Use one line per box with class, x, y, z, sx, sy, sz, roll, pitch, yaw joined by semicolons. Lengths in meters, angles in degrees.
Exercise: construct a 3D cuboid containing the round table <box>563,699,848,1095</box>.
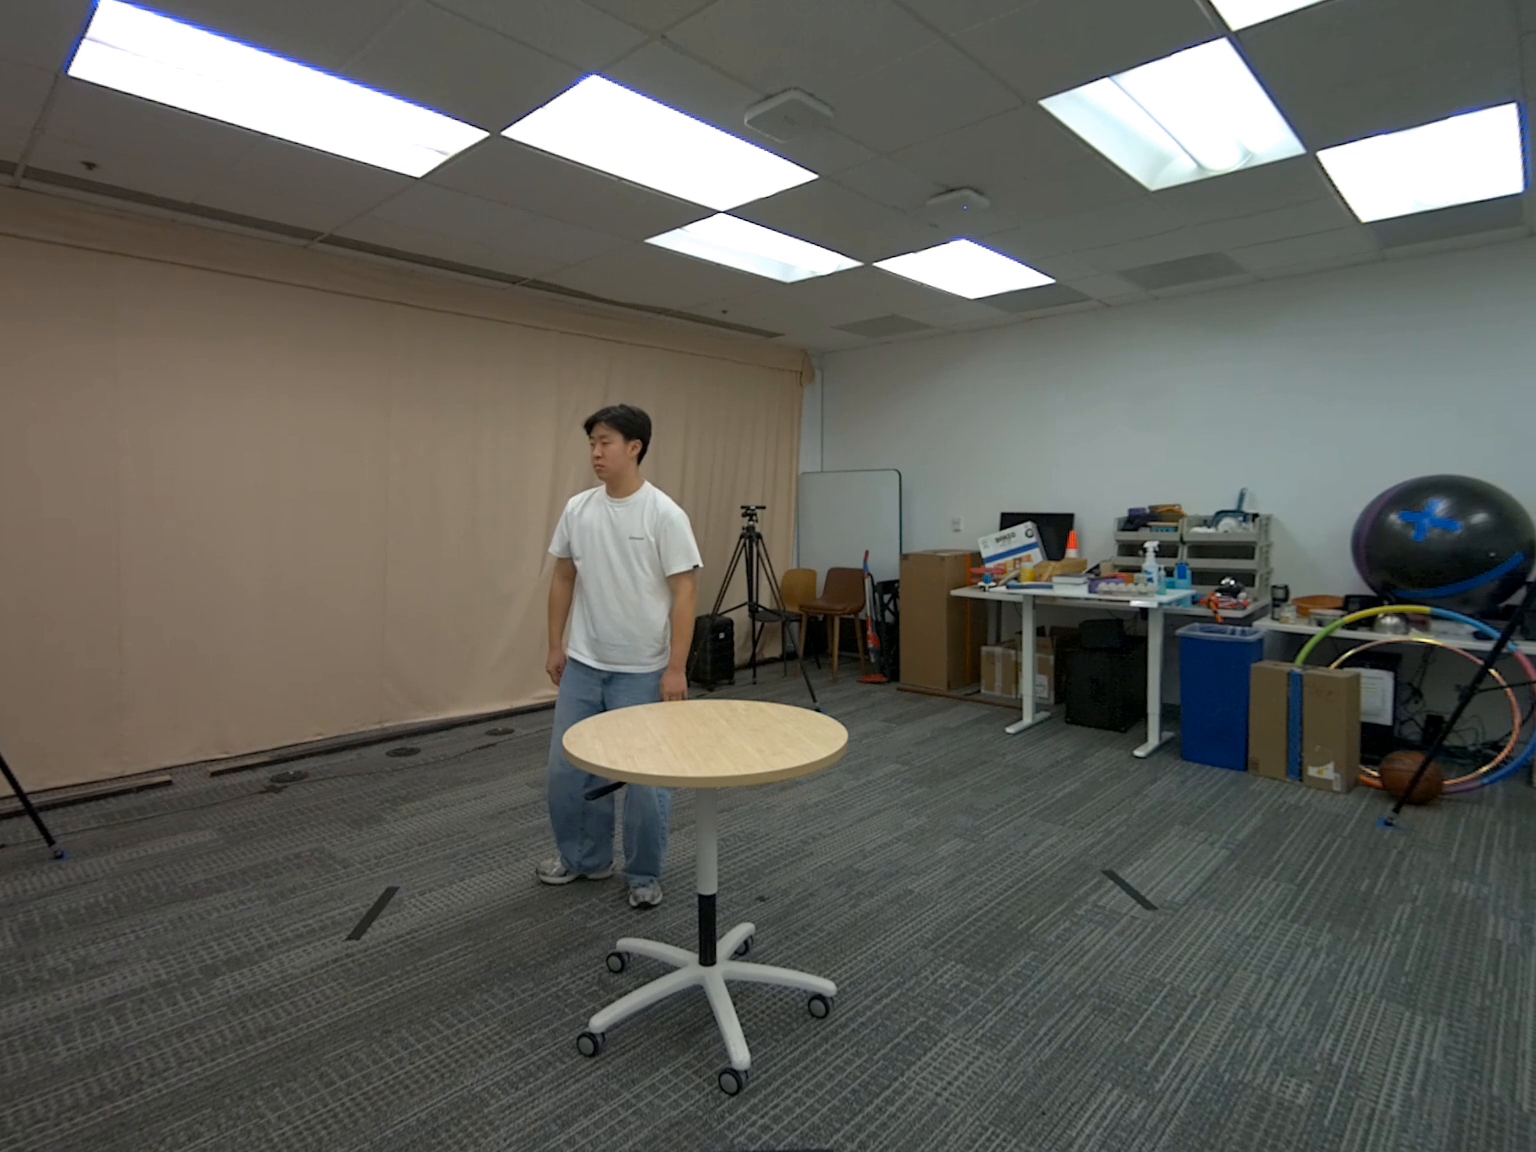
round table;-0.169;0.816;2.303;0.763;0.792;0.766;0;4;-2
